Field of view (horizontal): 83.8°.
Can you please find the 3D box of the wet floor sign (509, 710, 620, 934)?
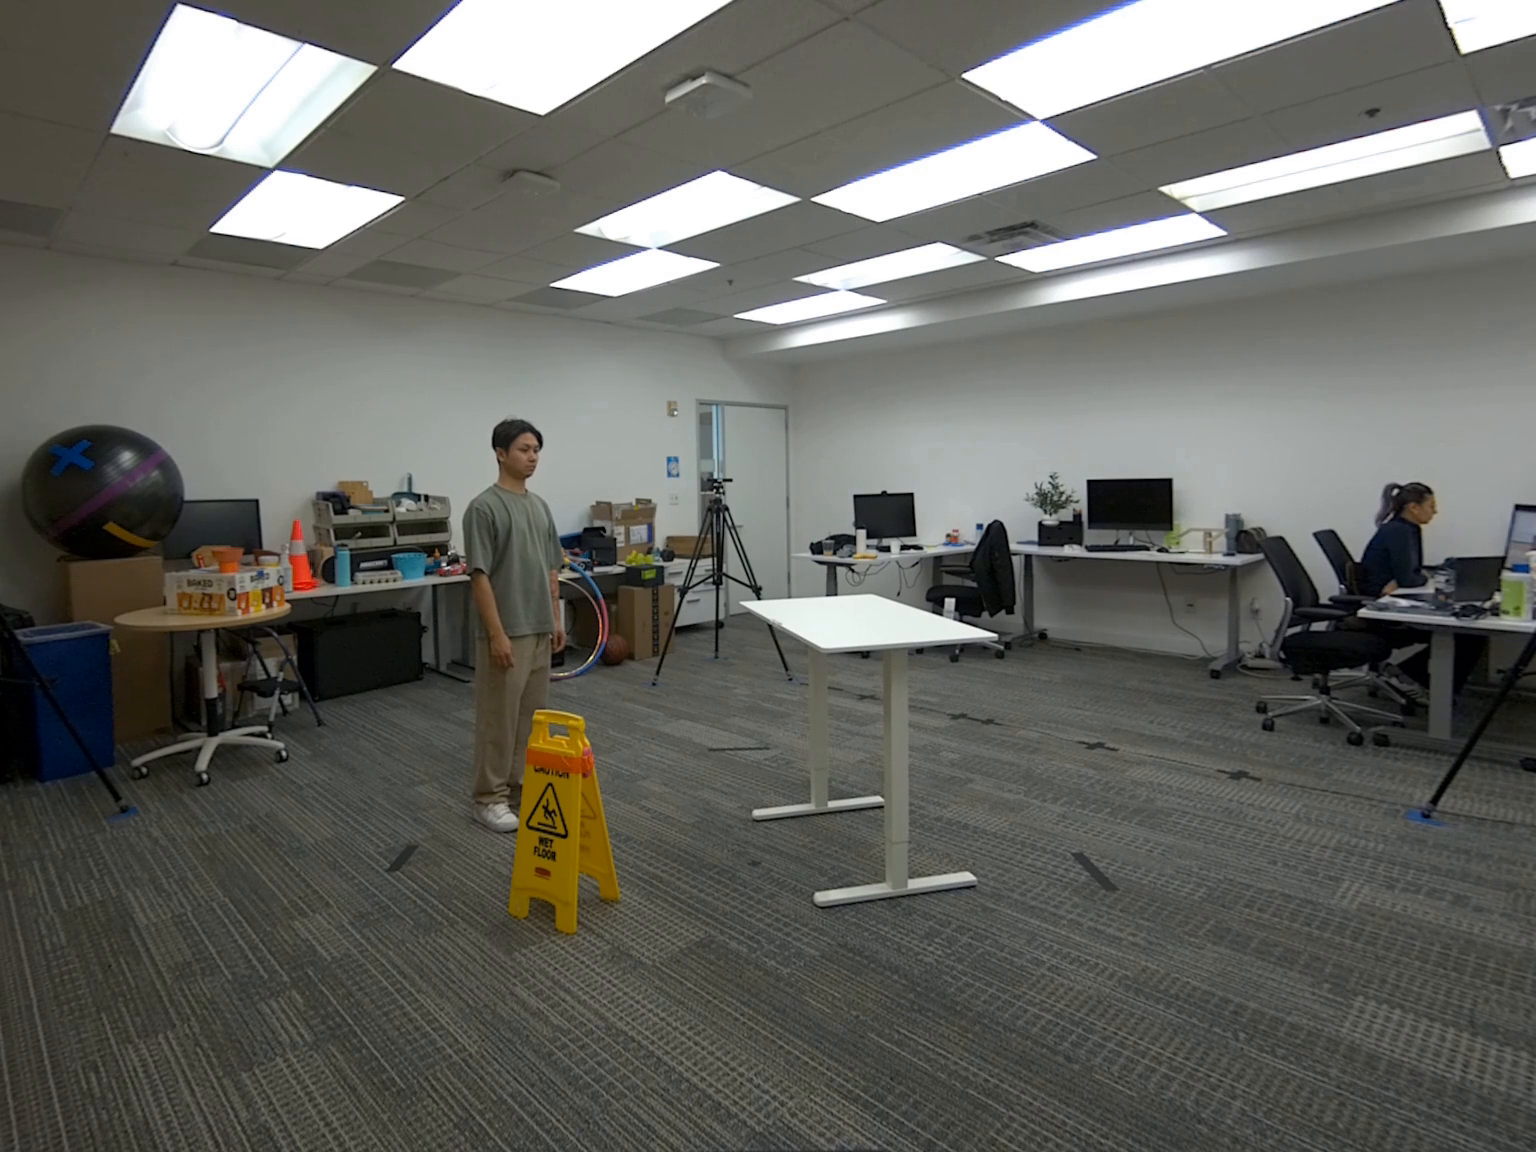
[{"bbox_3d":[-0.671,0.770,2.786,0.289,0.643,0.284,0,5,27],"label":"wet floor sign"}]
